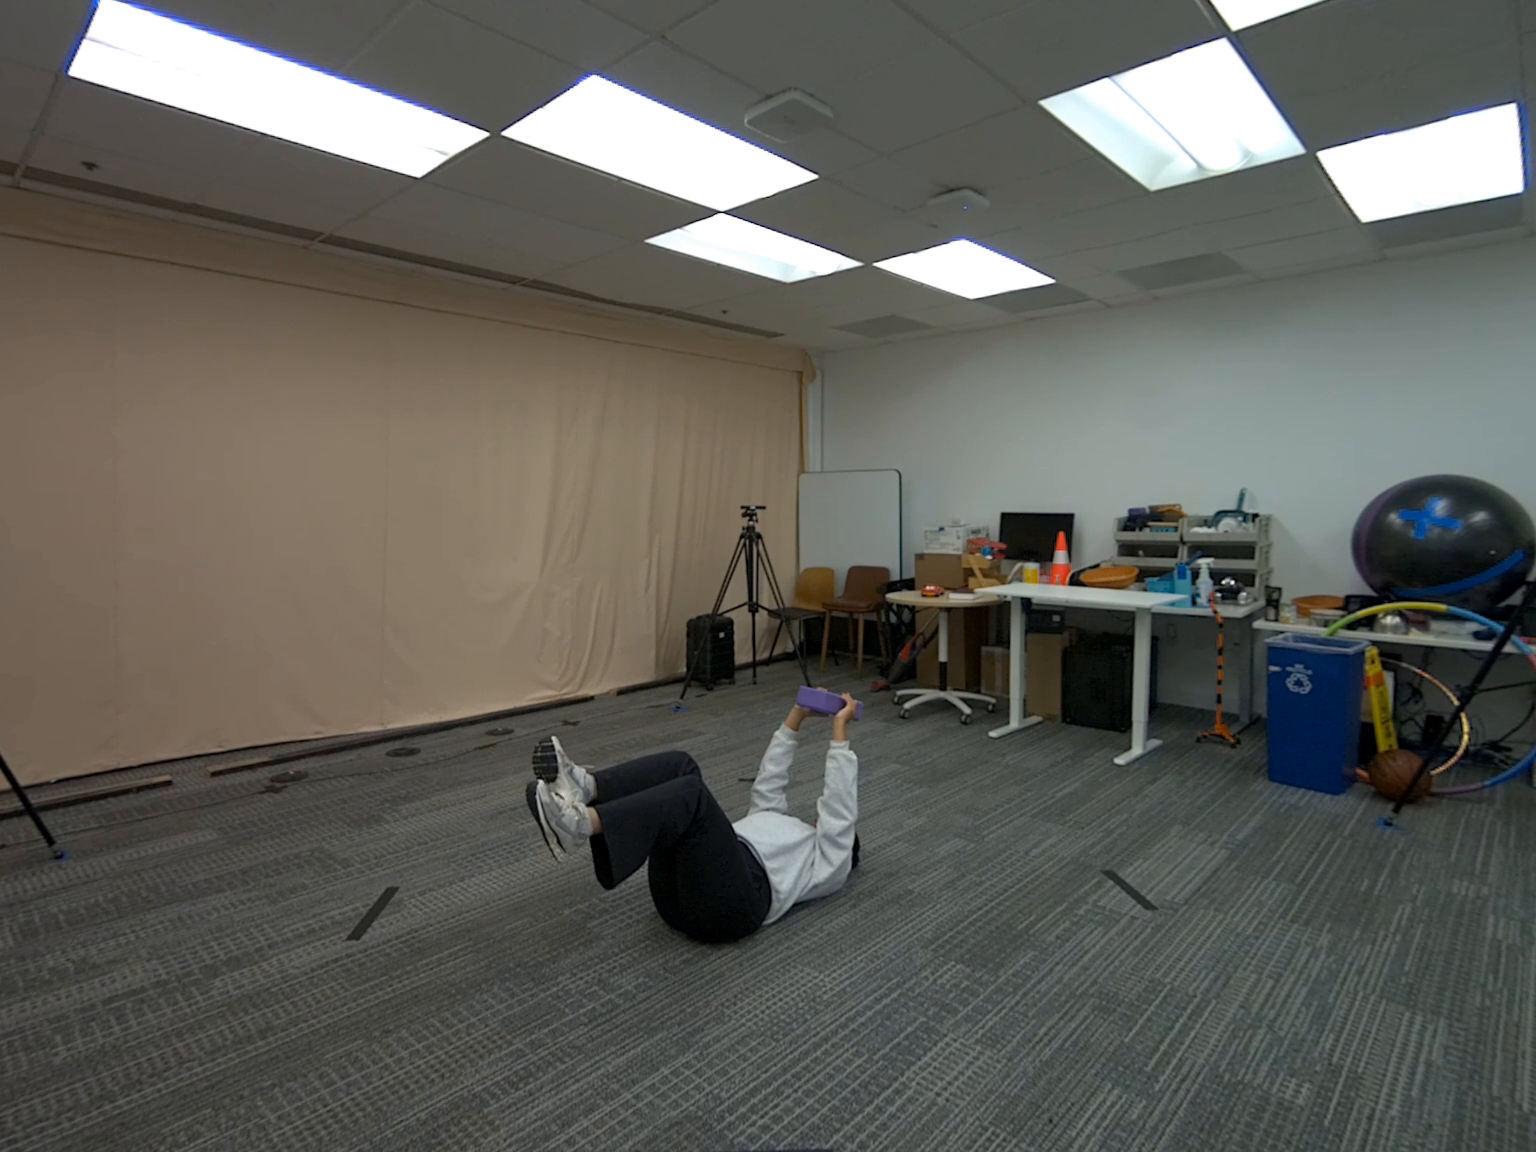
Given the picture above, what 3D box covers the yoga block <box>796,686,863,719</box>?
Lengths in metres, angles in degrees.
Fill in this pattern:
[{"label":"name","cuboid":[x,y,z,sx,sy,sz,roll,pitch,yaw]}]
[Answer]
[{"label":"yoga block","cuboid":[0.240,0.487,3.221,0.154,0.076,0.221,8,-10,42]}]
